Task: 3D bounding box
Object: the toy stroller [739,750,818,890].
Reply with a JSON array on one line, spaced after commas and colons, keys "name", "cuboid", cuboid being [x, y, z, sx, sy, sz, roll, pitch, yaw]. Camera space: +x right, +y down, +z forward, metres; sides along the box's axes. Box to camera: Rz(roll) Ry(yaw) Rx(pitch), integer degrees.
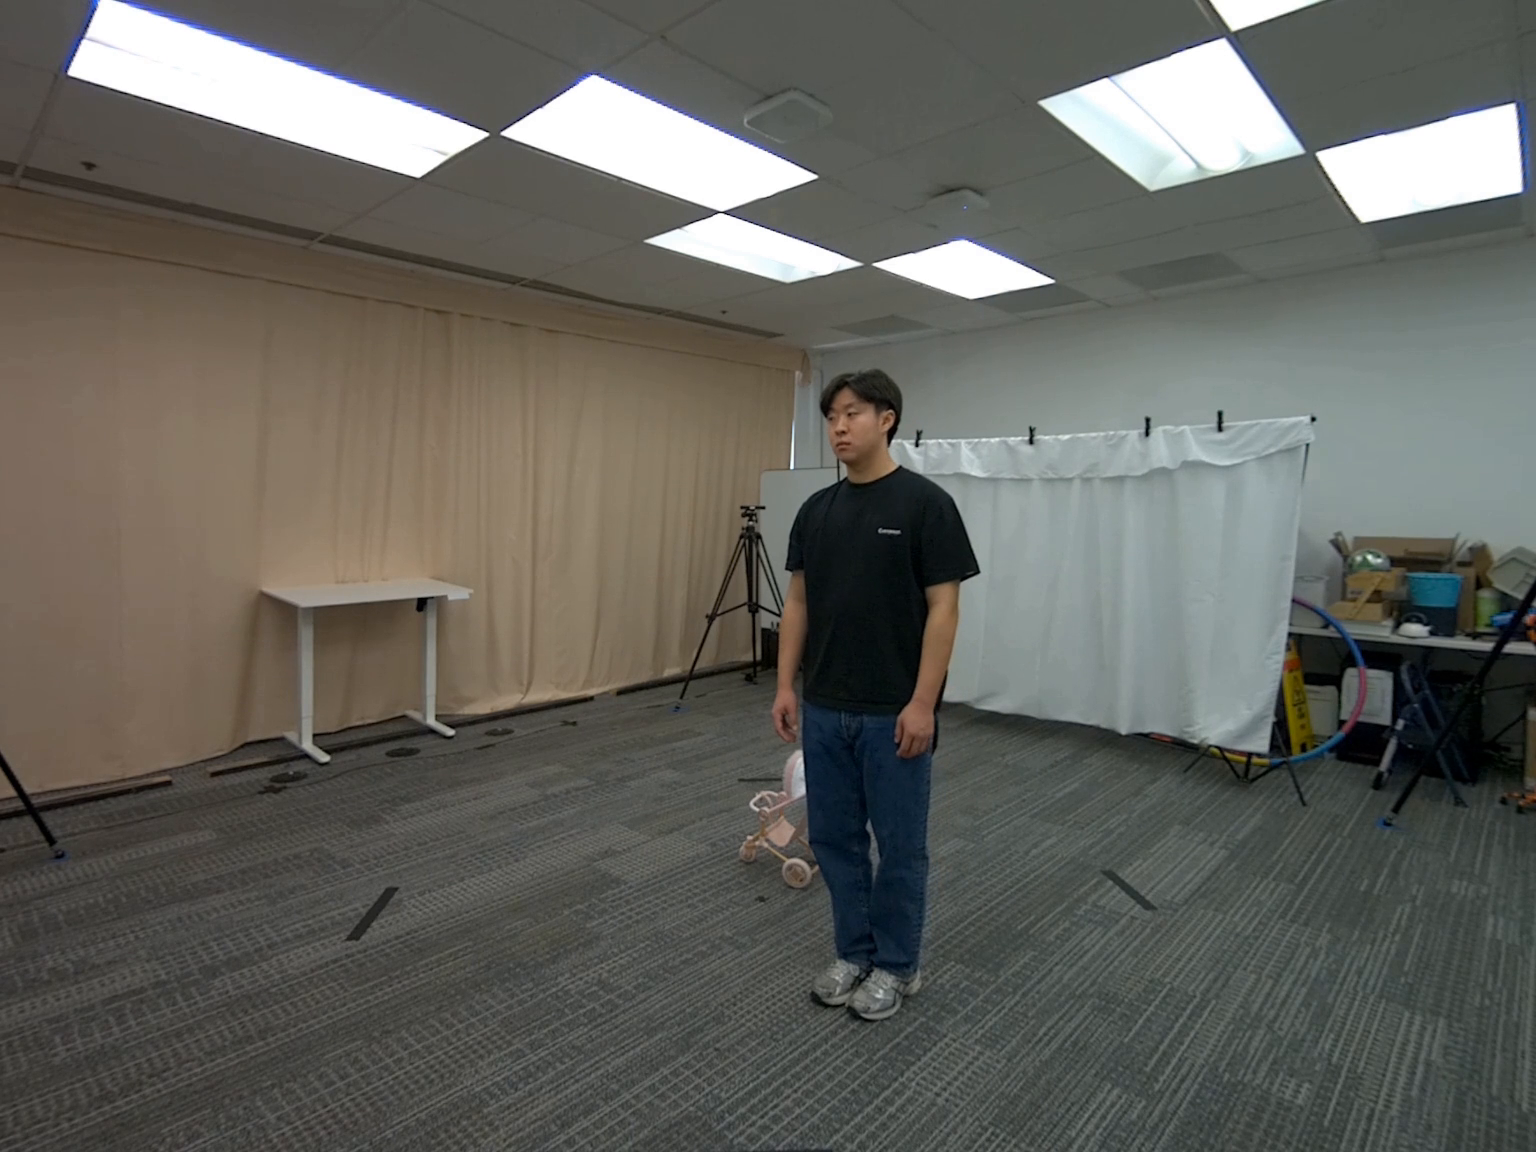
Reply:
[{"name": "toy stroller", "cuboid": [0.095, 0.900, 3.195, 0.352, 0.533, 0.274, 20, 11, 28]}]
